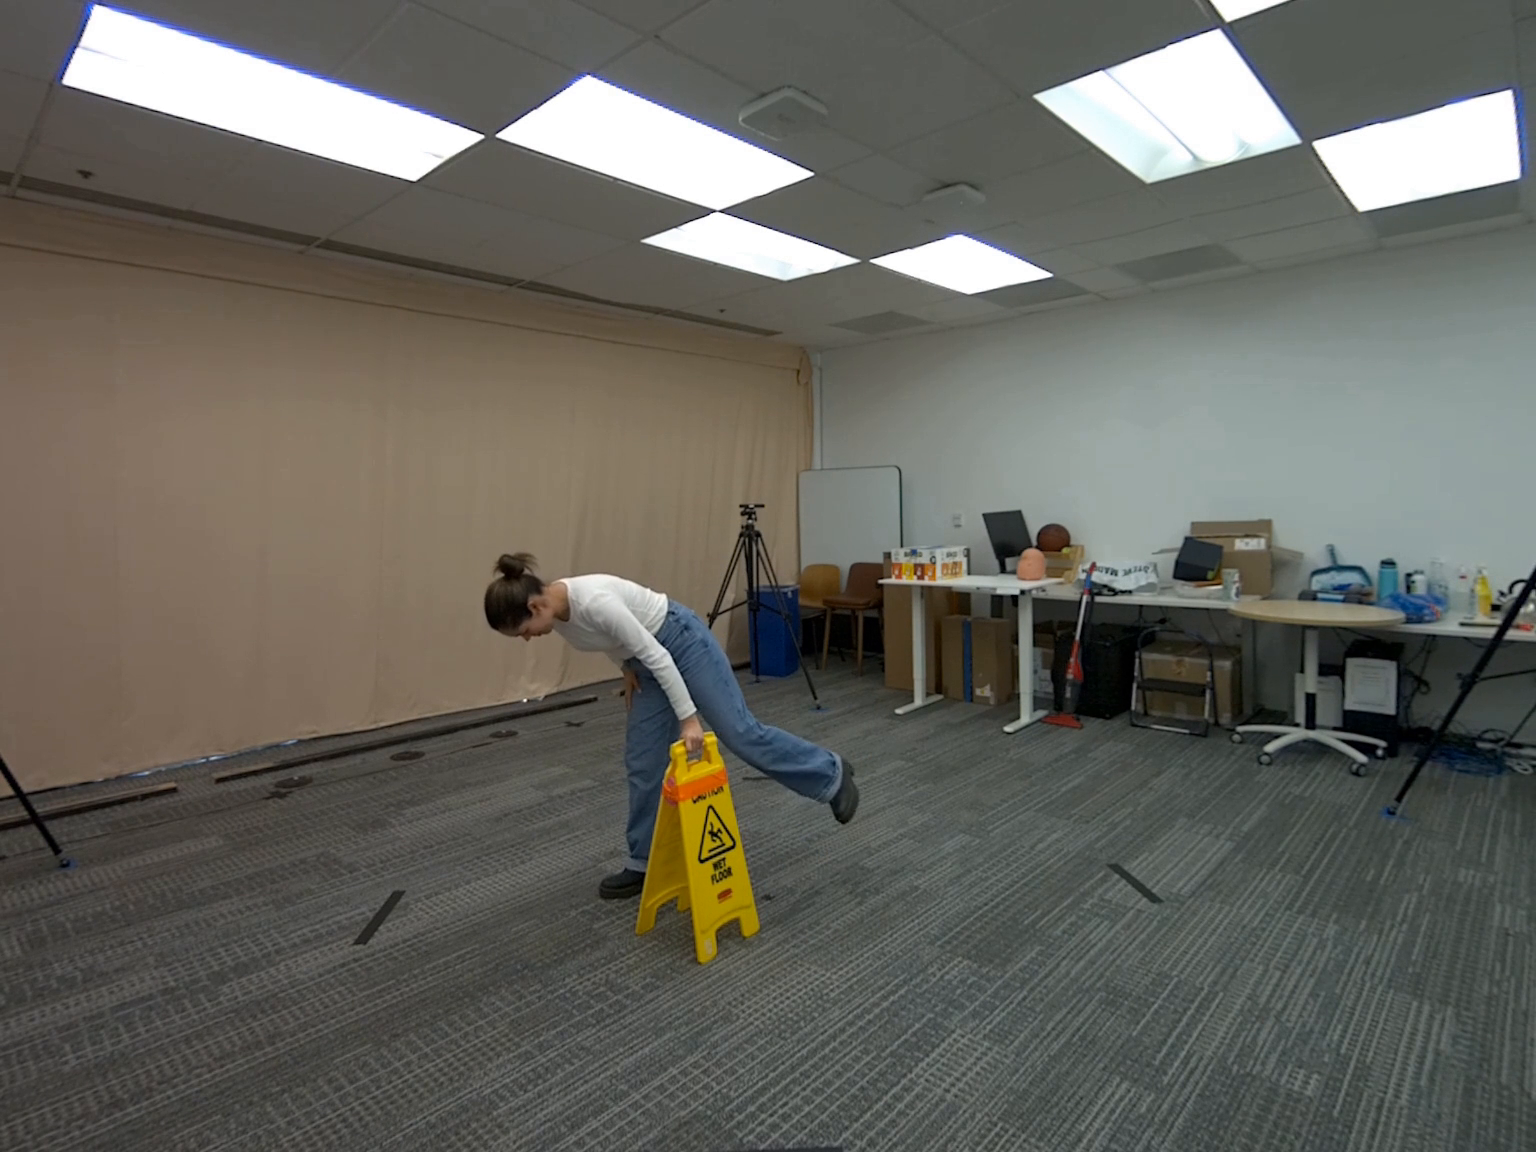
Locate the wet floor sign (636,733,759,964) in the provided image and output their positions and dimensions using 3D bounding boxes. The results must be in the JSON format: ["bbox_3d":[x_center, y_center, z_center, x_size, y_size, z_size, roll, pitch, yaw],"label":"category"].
[{"bbox_3d":[-0.237,0.844,2.730,0.299,0.645,0.274,1,3,39],"label":"wet floor sign"}]
